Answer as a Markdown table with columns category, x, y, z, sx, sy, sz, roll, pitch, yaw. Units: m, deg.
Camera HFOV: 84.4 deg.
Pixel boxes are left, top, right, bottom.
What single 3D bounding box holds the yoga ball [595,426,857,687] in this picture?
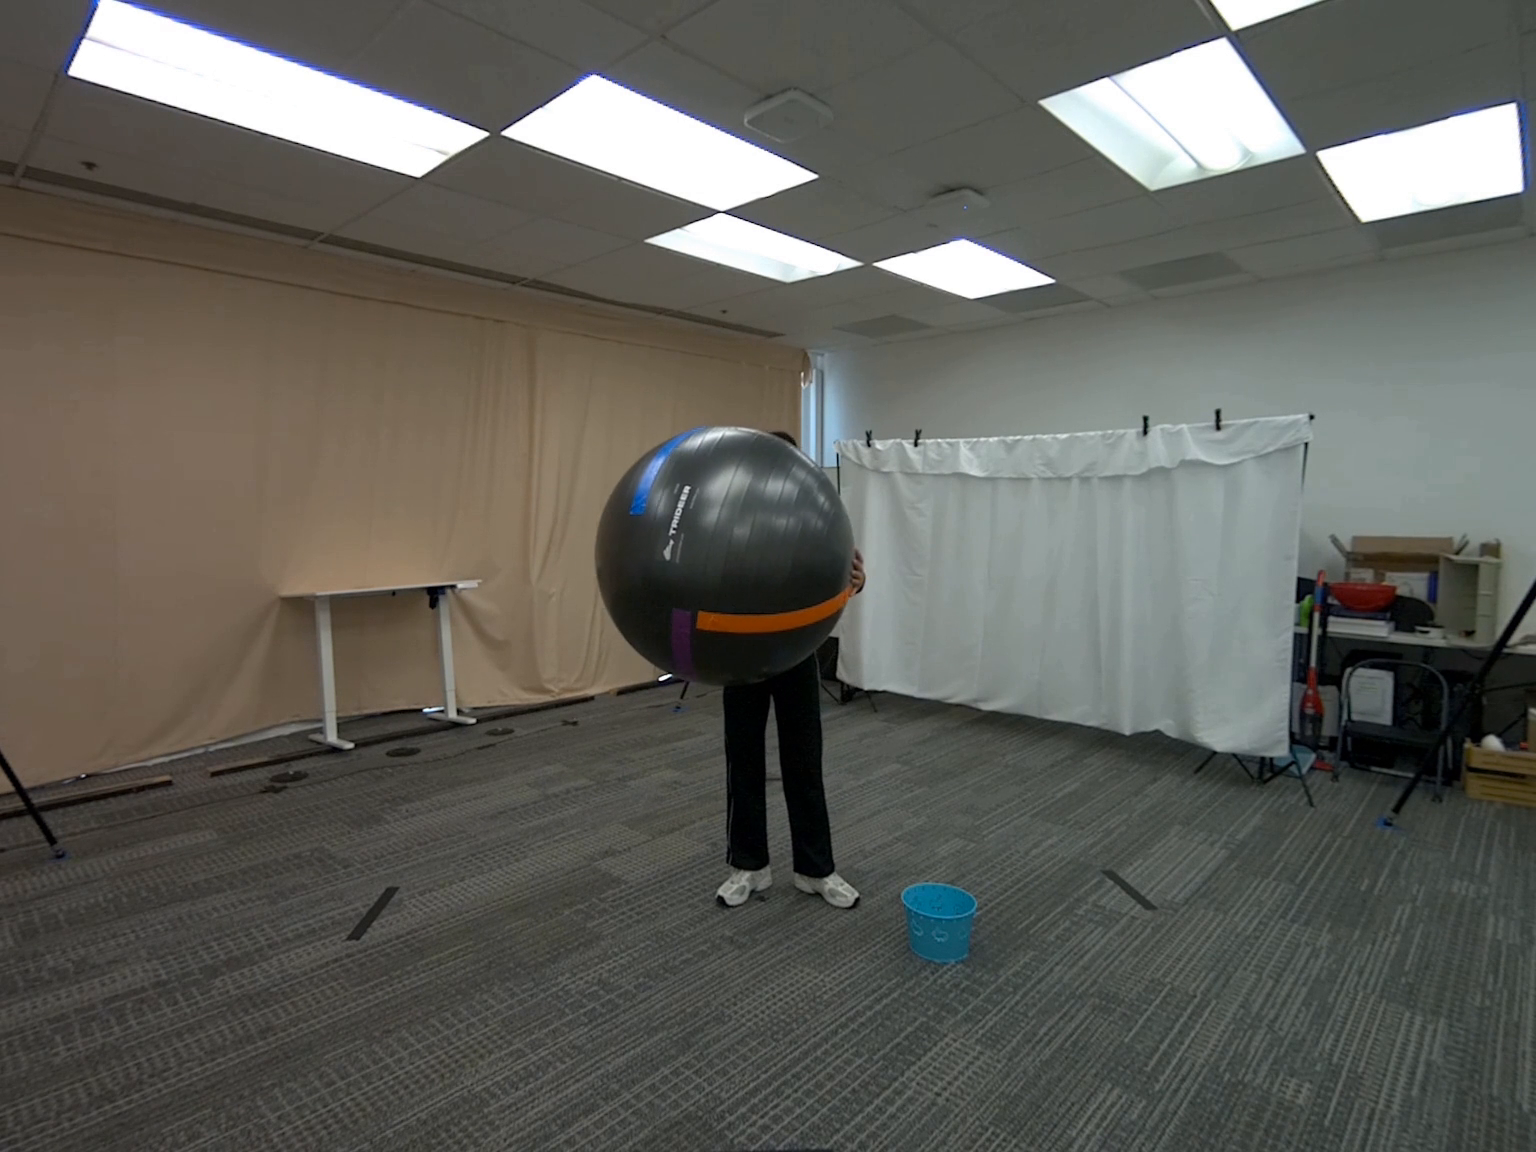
| category | x | y | z | sx | sy | sz | roll | pitch | yaw |
| --- | --- | --- | --- | --- | --- | --- | --- | --- | --- |
| yoga ball | -0.127 | -0.052 | 2.471 | 0.757 | 0.756 | 0.760 | 0 | 4 | -2 |
